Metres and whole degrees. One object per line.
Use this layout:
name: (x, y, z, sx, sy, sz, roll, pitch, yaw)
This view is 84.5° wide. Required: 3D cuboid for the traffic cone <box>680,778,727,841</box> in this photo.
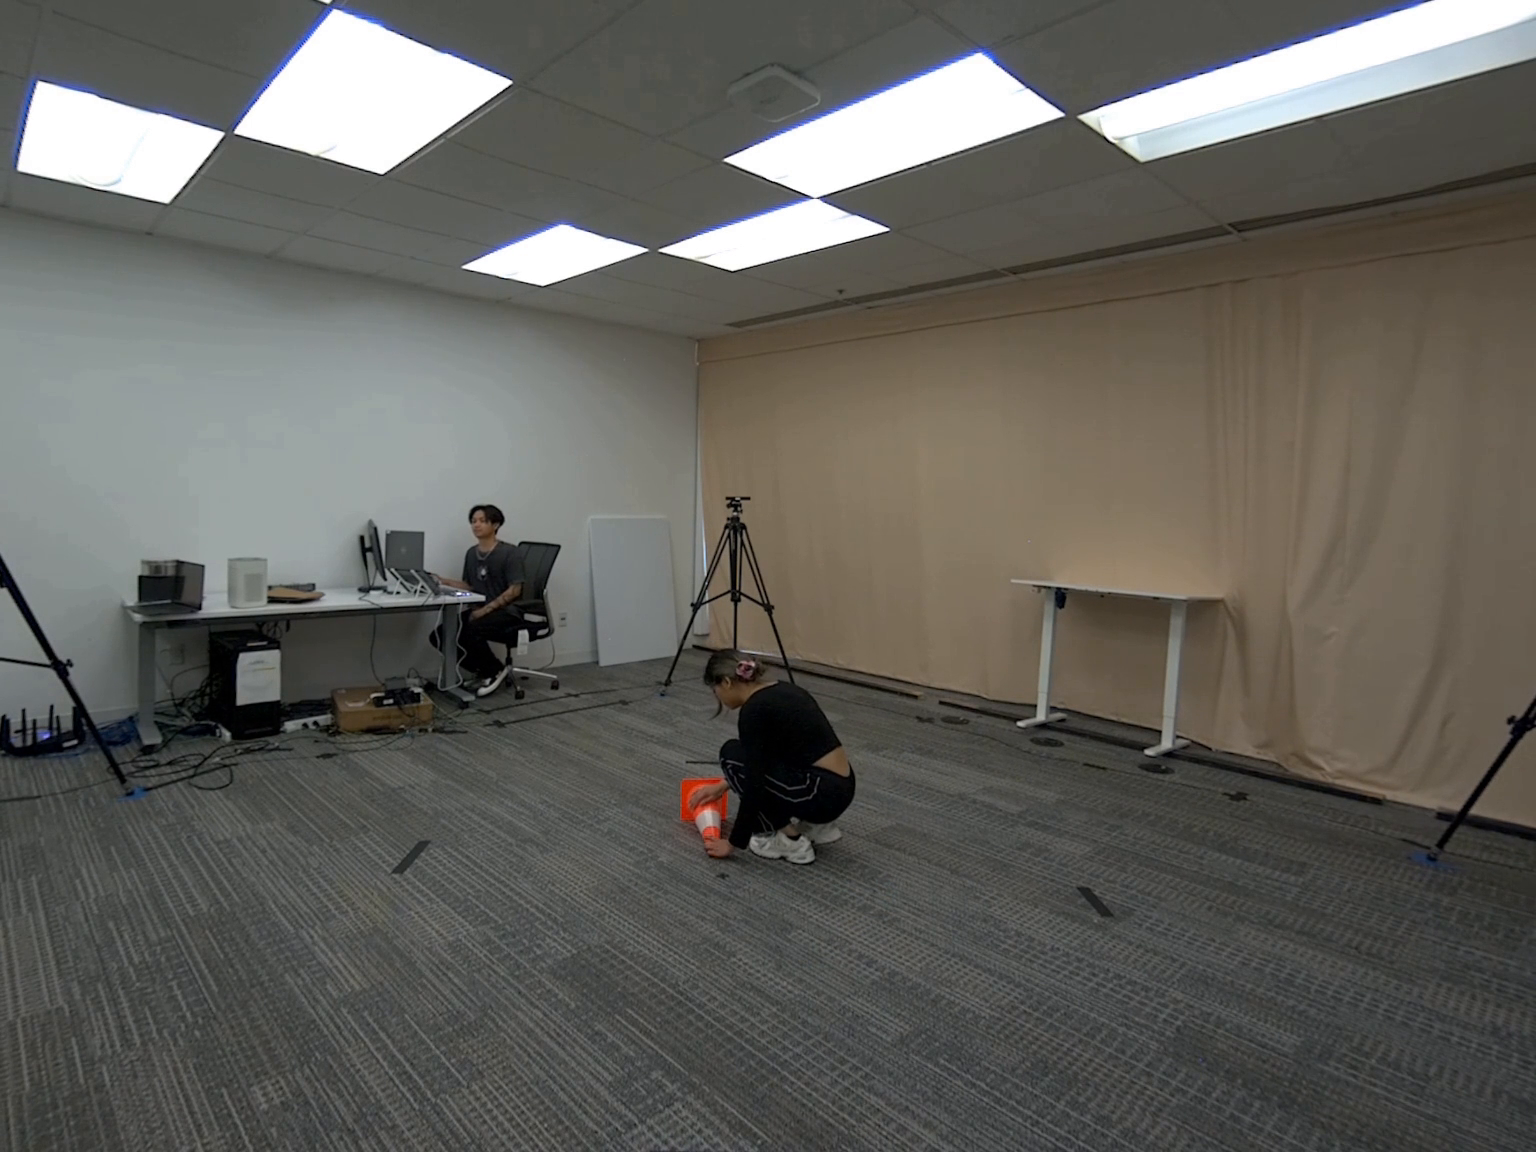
traffic cone: (-0.240, 1.015, 3.439, 0.202, 0.202, 0.391, -3, 18, -10)
